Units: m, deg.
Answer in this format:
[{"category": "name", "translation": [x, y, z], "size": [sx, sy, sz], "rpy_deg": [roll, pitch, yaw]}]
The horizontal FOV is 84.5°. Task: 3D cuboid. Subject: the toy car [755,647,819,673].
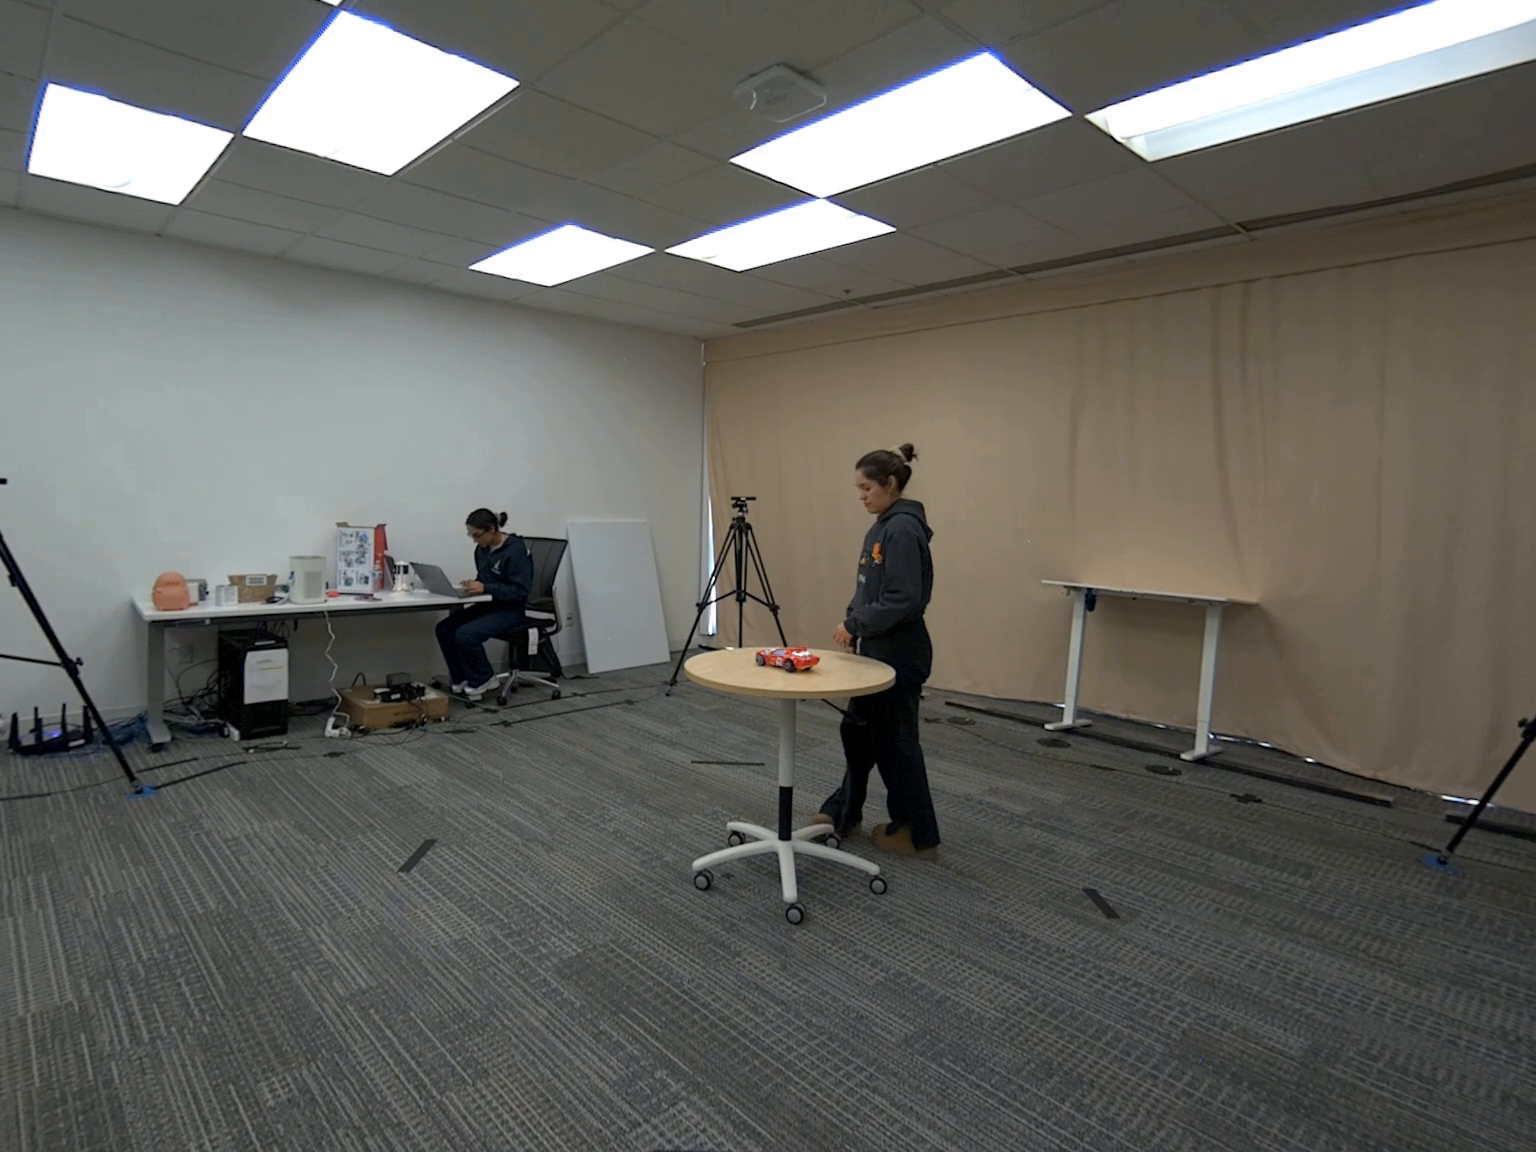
[{"category": "toy car", "translation": [0.067, 0.303, 3.044], "size": [0.127, 0.083, 0.260], "rpy_deg": [-3, -3, -45]}]
